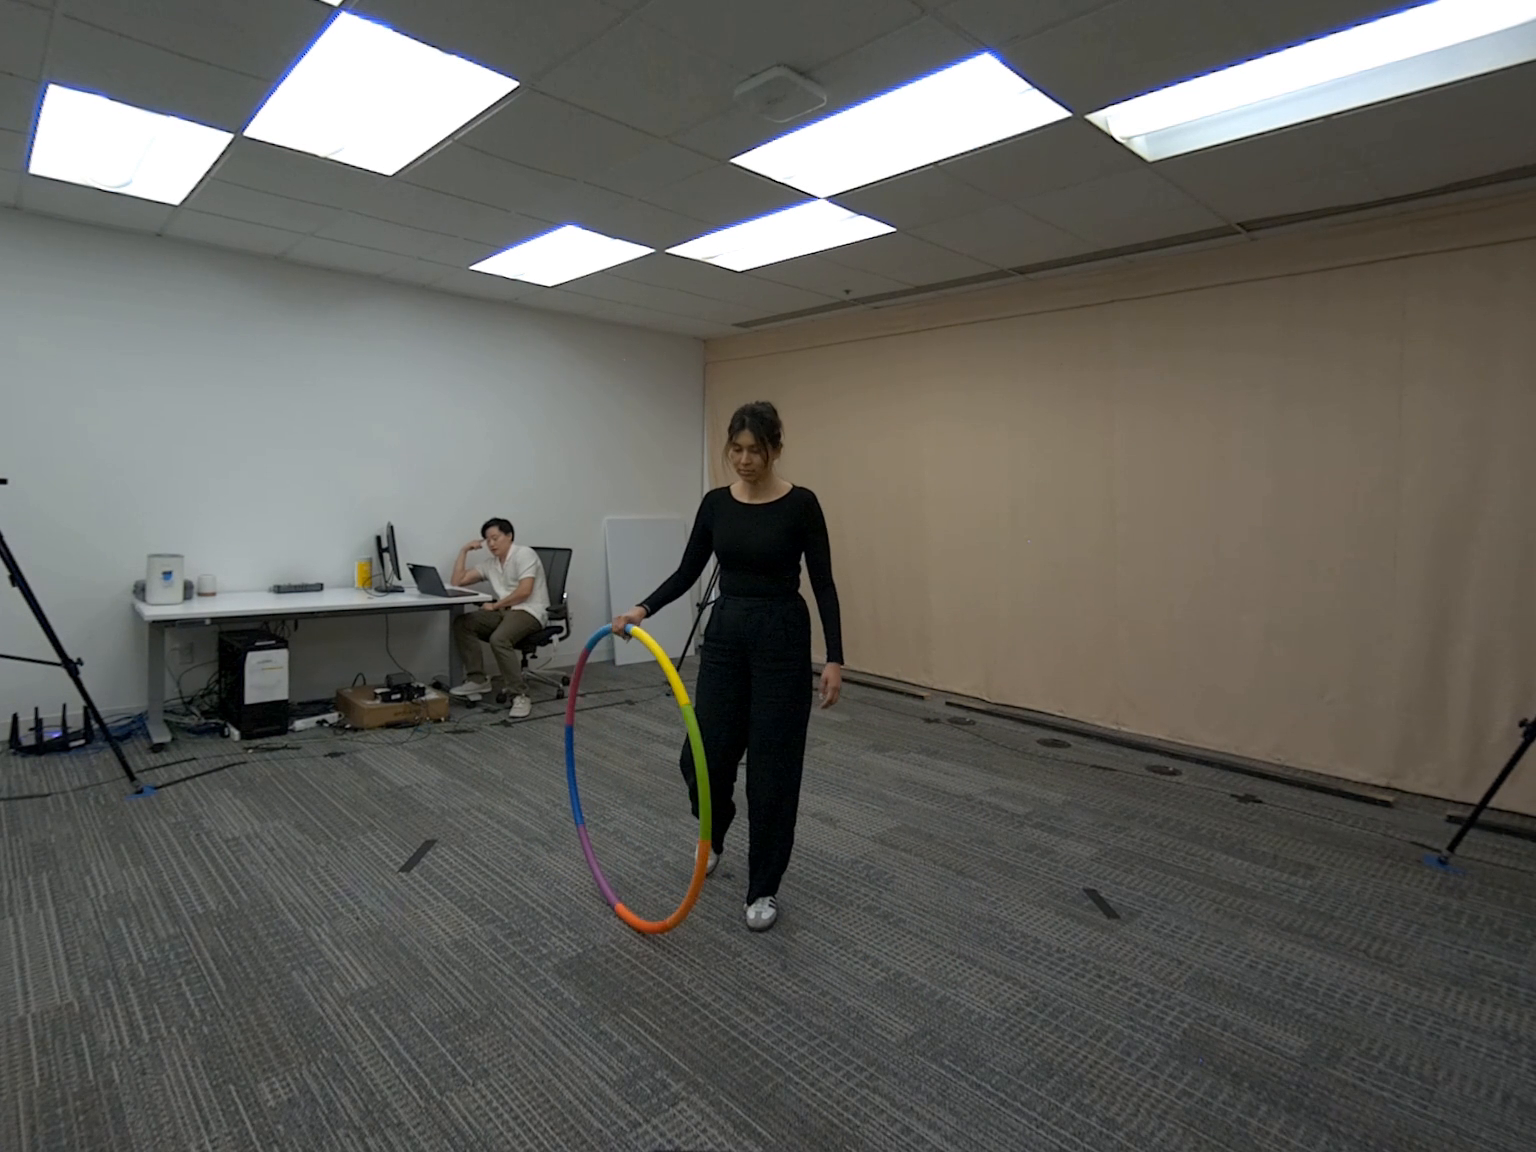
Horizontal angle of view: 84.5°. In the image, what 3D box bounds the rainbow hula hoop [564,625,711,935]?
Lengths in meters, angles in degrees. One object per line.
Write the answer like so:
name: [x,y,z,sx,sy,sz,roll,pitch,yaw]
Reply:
rainbow hula hoop: [-0.456,0.648,2.741,0.035,0.976,1.002,-1,5,-34]
